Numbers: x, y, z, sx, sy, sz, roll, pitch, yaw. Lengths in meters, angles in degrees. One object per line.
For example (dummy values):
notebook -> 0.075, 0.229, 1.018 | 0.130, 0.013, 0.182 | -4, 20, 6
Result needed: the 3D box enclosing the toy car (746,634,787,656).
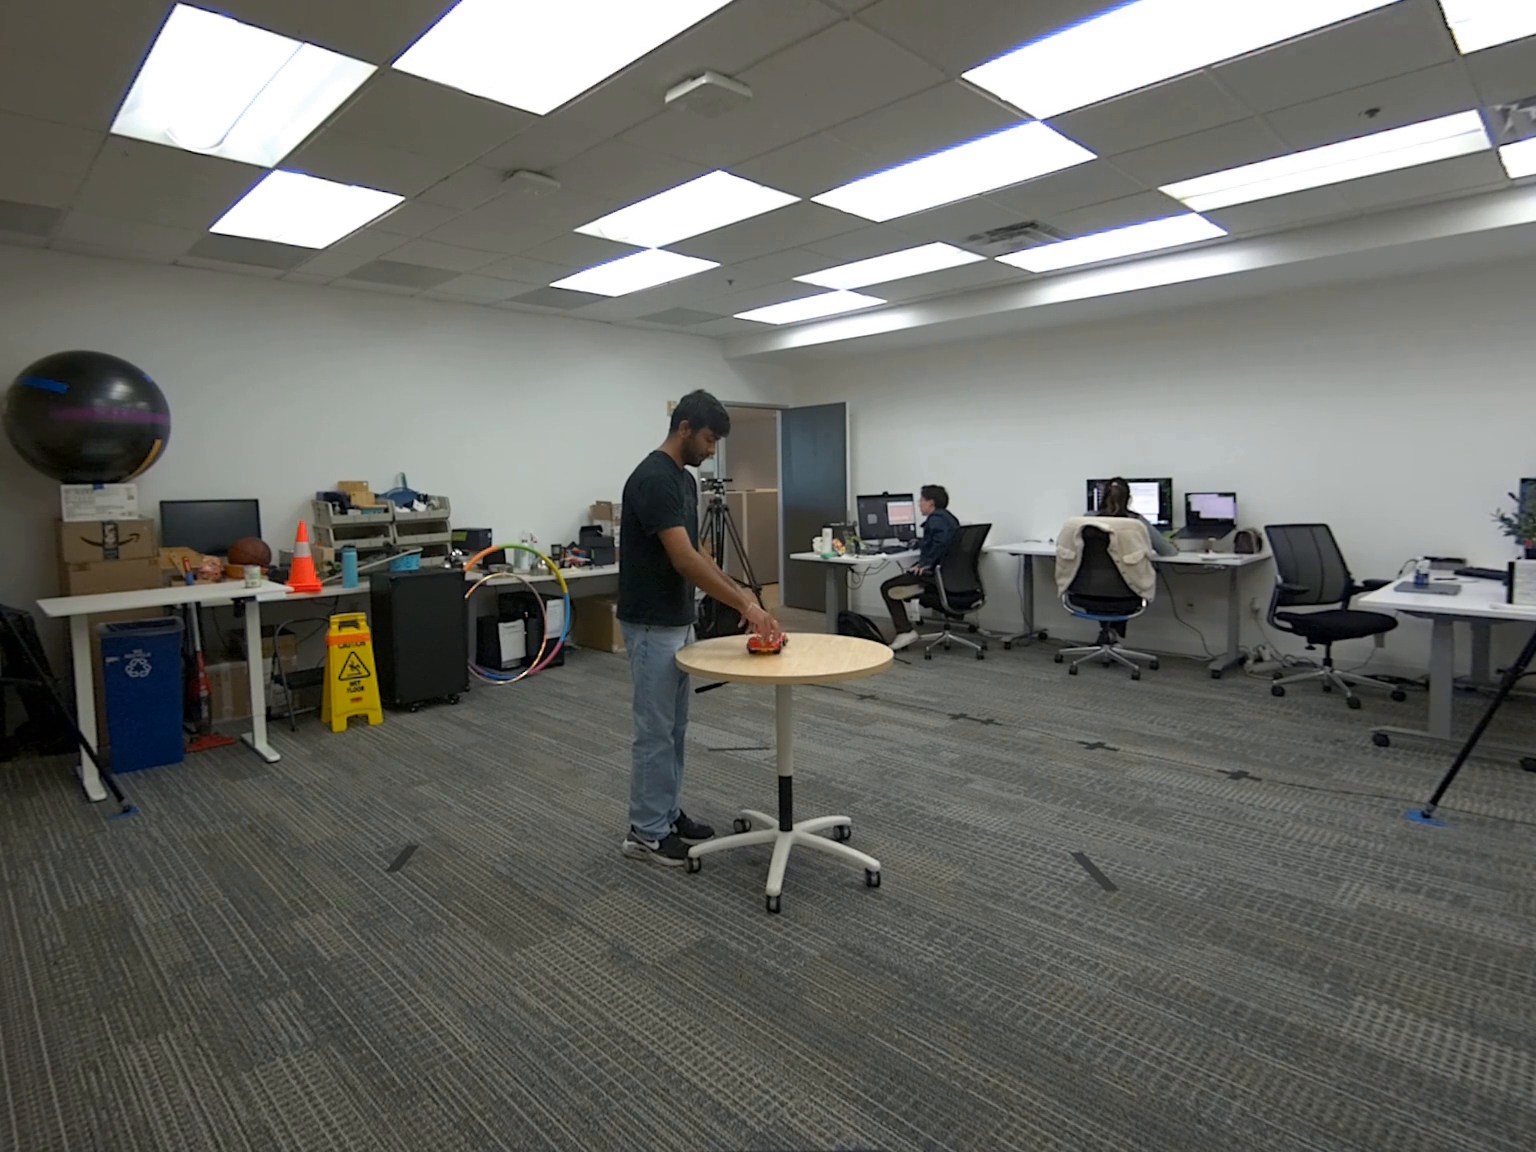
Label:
toy car -> -0.009, 0.236, 3.054 | 0.132, 0.083, 0.250 | -1, -4, 10
